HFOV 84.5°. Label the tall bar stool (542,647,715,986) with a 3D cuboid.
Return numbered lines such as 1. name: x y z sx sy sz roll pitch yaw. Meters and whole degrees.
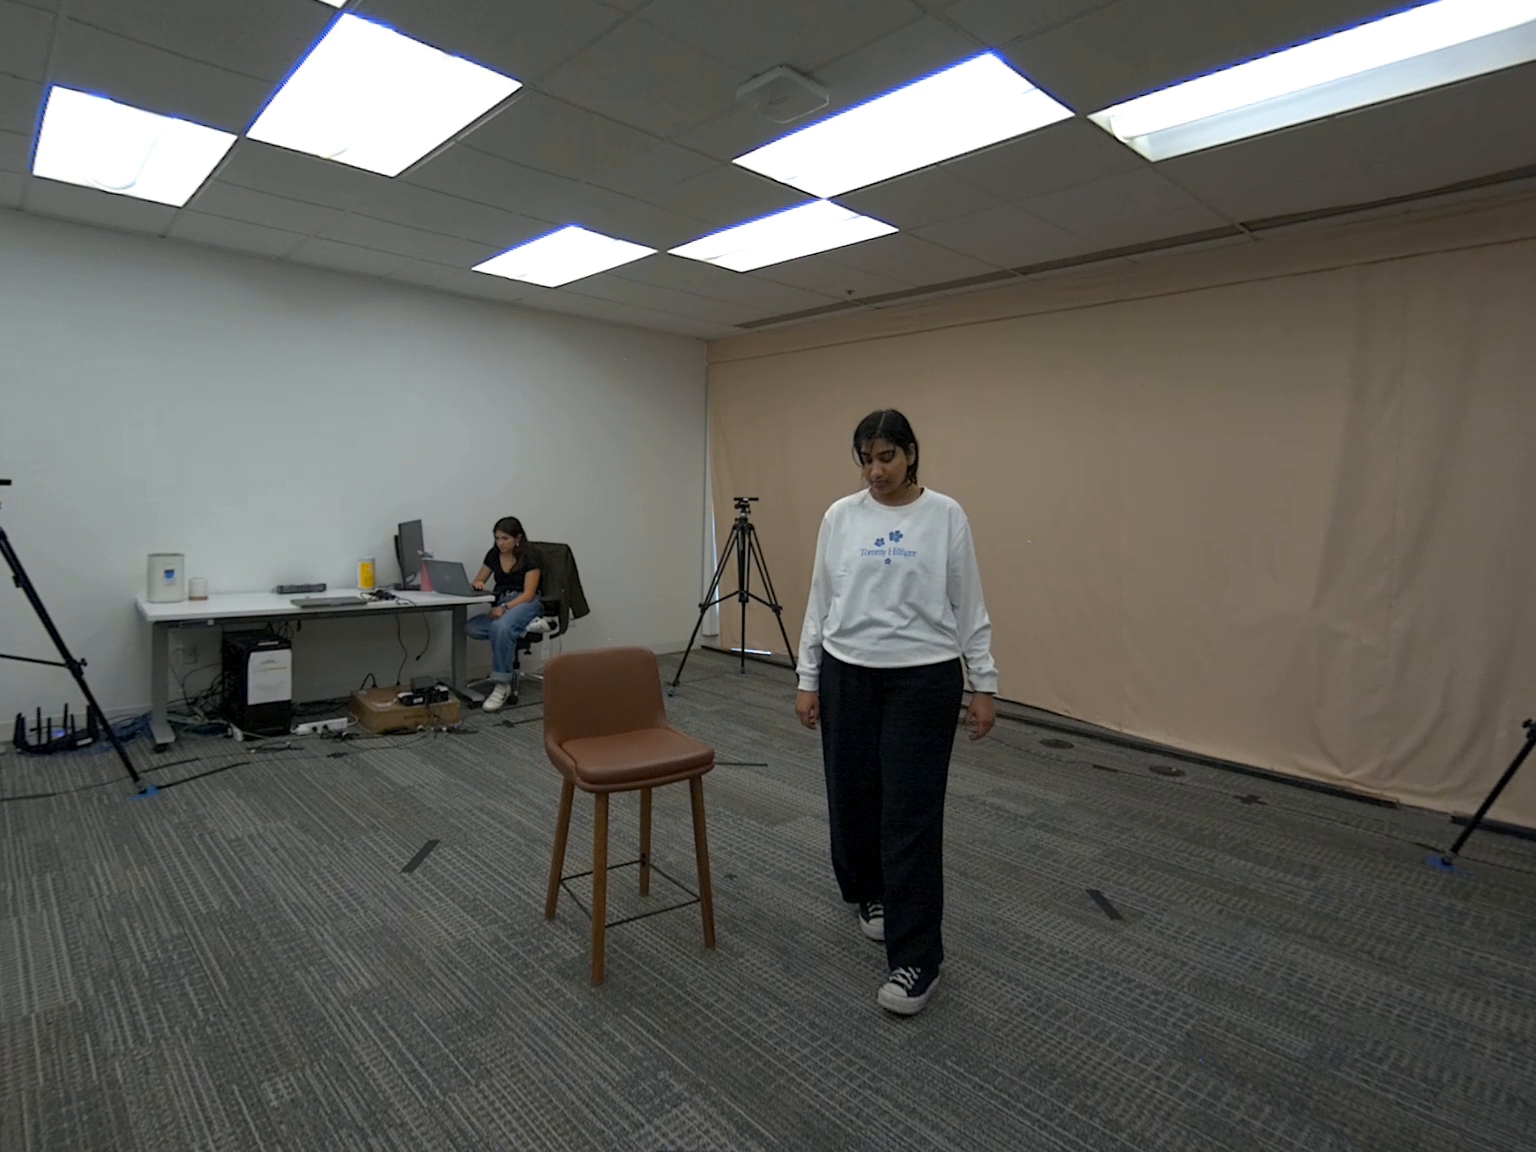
1. tall bar stool: -0.452 0.704 2.669 0.447 0.889 0.478 -1 2 -34
